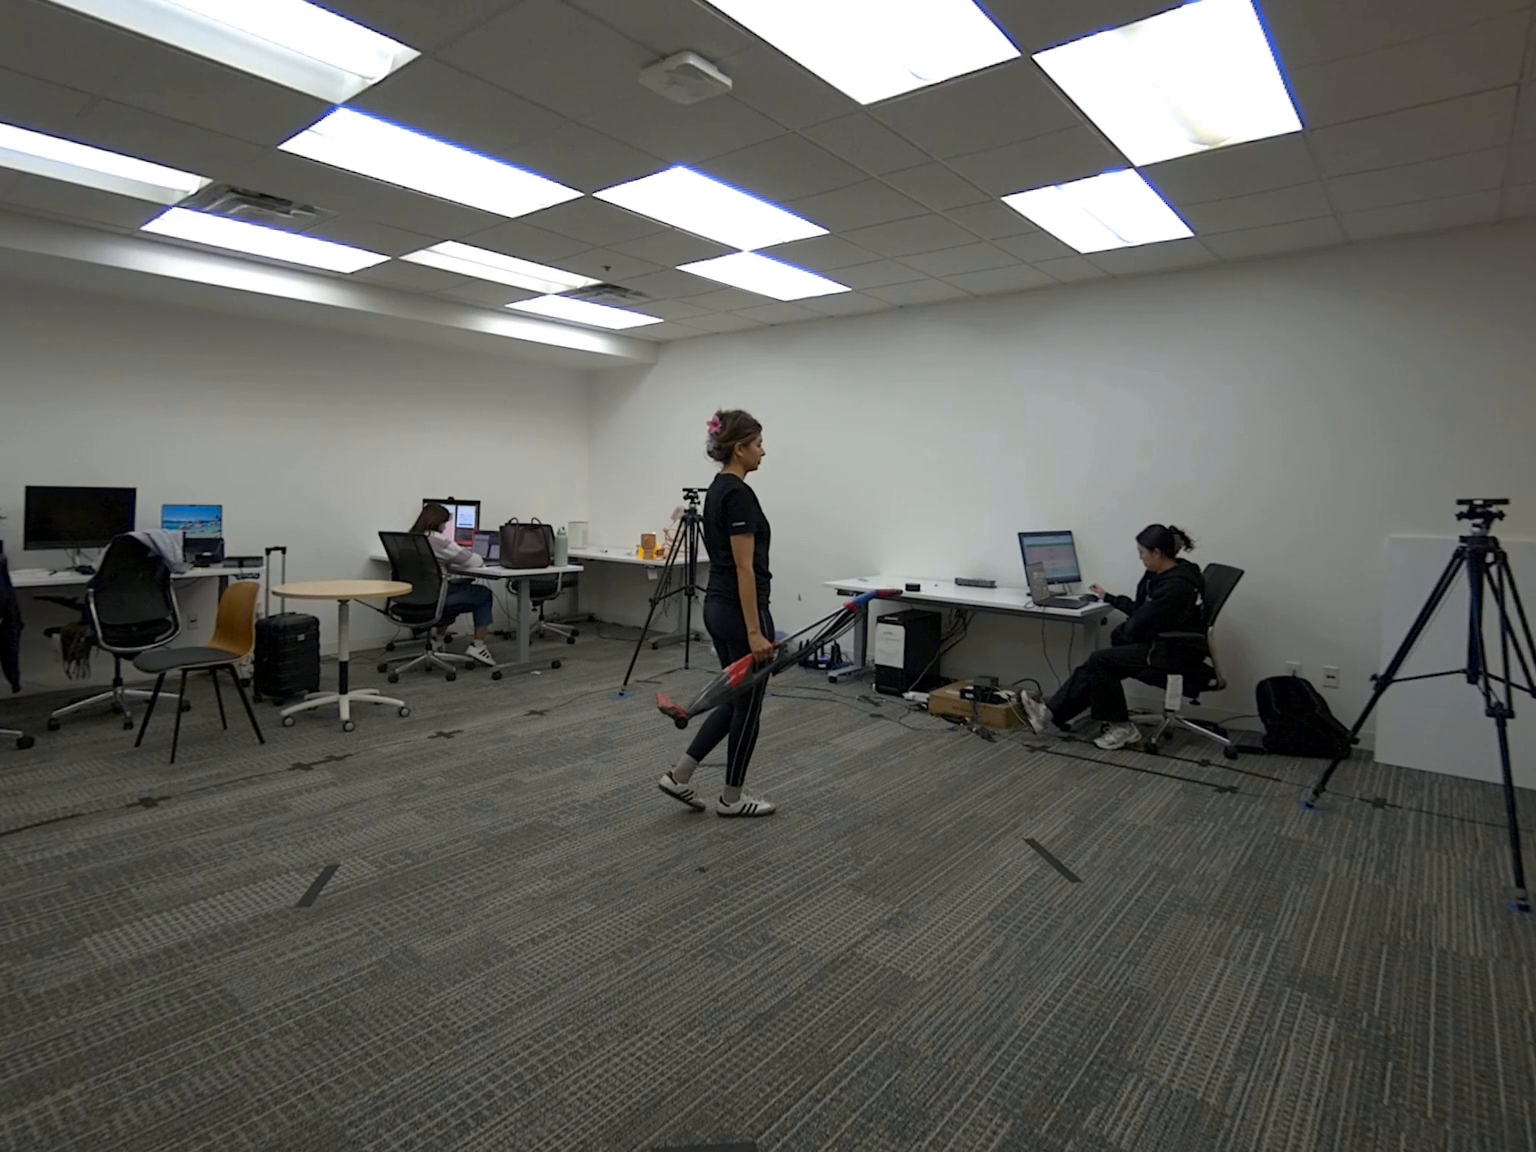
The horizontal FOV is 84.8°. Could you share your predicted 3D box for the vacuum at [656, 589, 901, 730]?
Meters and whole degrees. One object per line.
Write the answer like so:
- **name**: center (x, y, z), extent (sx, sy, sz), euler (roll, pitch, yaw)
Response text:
- **vacuum**: center (0.056, 0.305, 3.373), extent (1.046, 0.143, 0.255), euler (-28, 8, -5)
